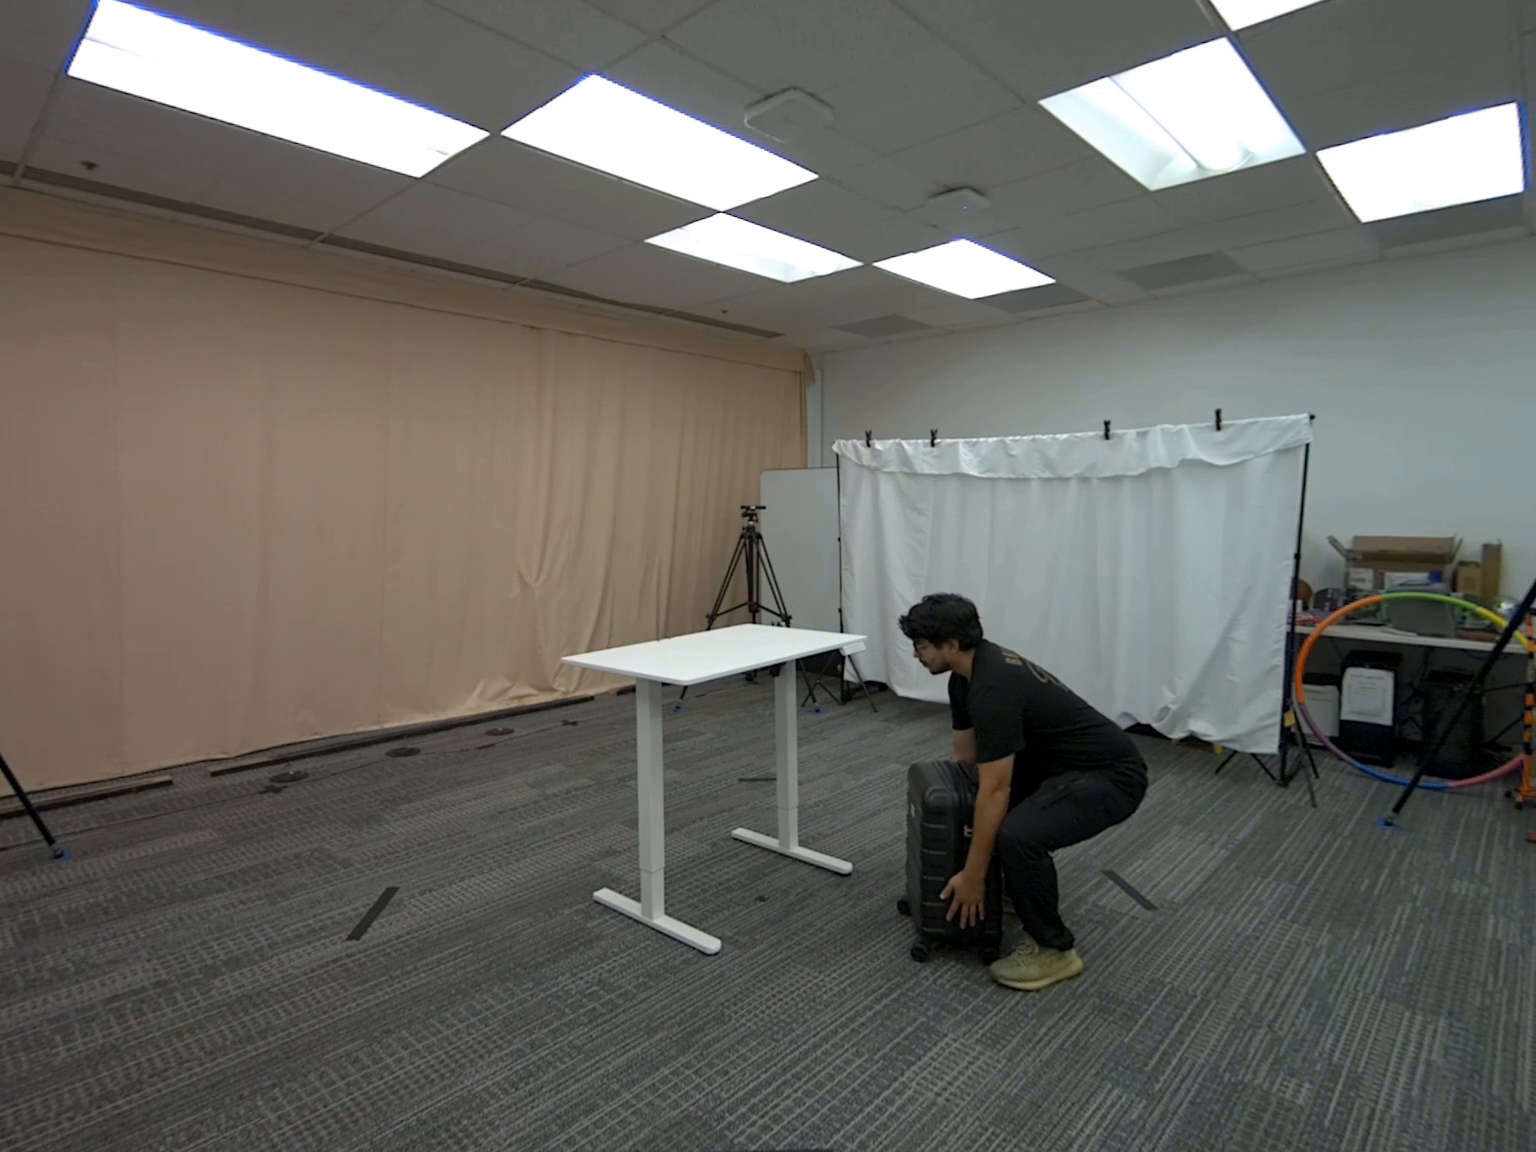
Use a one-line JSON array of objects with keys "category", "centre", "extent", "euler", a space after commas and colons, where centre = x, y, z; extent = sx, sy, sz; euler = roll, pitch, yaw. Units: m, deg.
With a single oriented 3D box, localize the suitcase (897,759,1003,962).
[{"category": "suitcase", "centre": [0.594, 0.890, 2.697], "extent": [0.248, 0.548, 0.376], "euler": [1, 5, -1]}]
